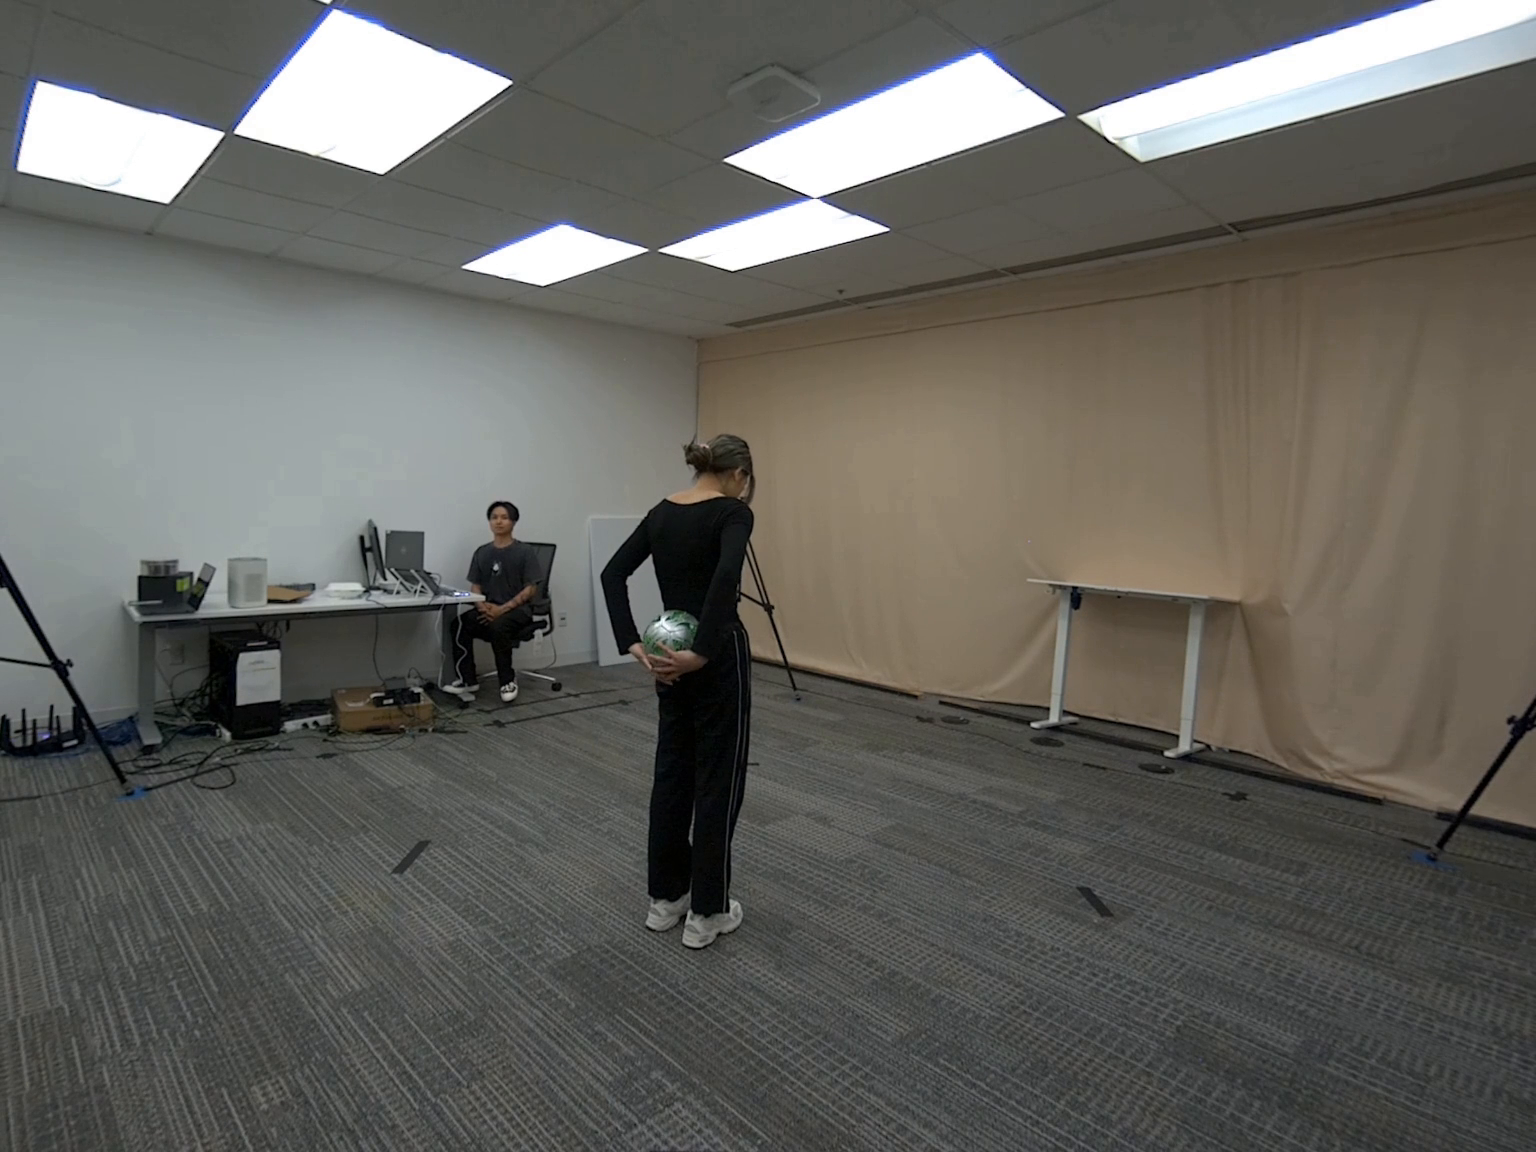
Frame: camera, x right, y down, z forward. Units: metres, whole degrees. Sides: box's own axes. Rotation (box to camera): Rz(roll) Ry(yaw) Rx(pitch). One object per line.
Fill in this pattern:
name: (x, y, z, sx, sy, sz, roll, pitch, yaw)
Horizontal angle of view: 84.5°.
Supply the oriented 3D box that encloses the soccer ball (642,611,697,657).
soccer ball: (-0.288, 0.206, 2.487, 0.187, 0.187, 0.188, 1, 4, -1)
